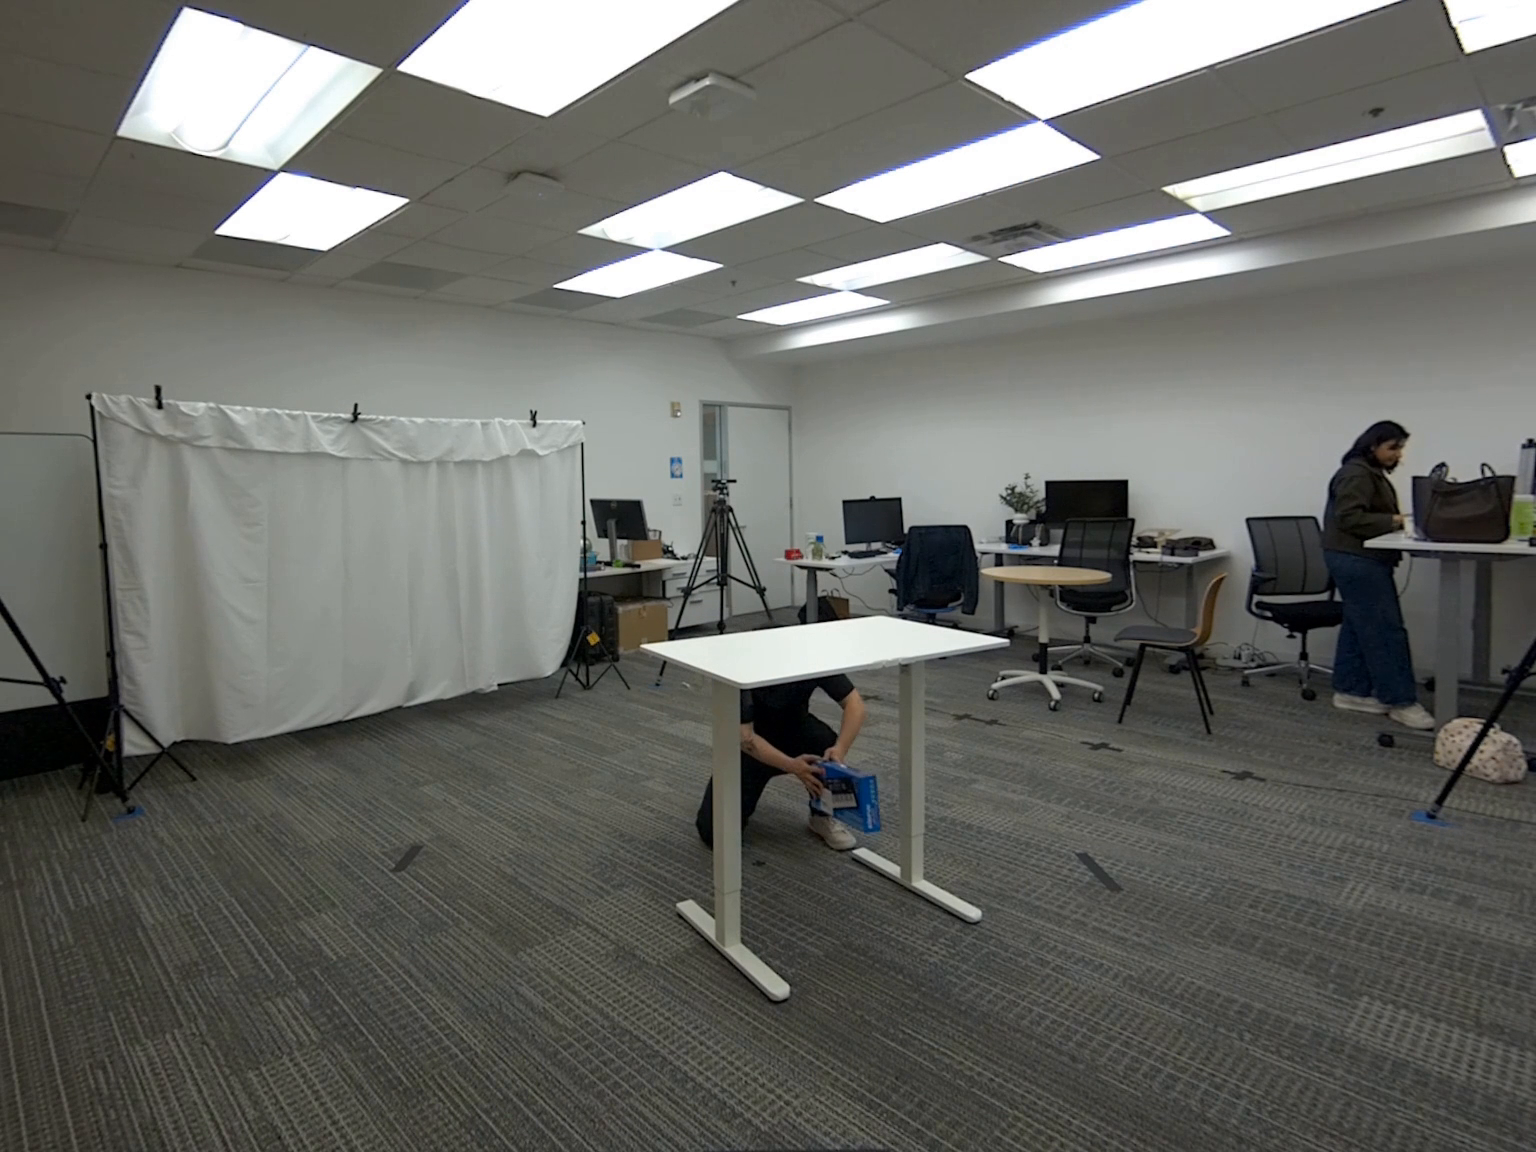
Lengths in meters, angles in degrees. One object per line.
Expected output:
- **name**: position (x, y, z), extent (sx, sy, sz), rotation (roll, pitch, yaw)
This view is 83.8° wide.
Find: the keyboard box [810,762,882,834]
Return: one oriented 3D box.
- **keyboard box**: position (0.249, 0.734, 2.879), extent (0.058, 0.177, 0.442), rotation (-2, -4, -19)
